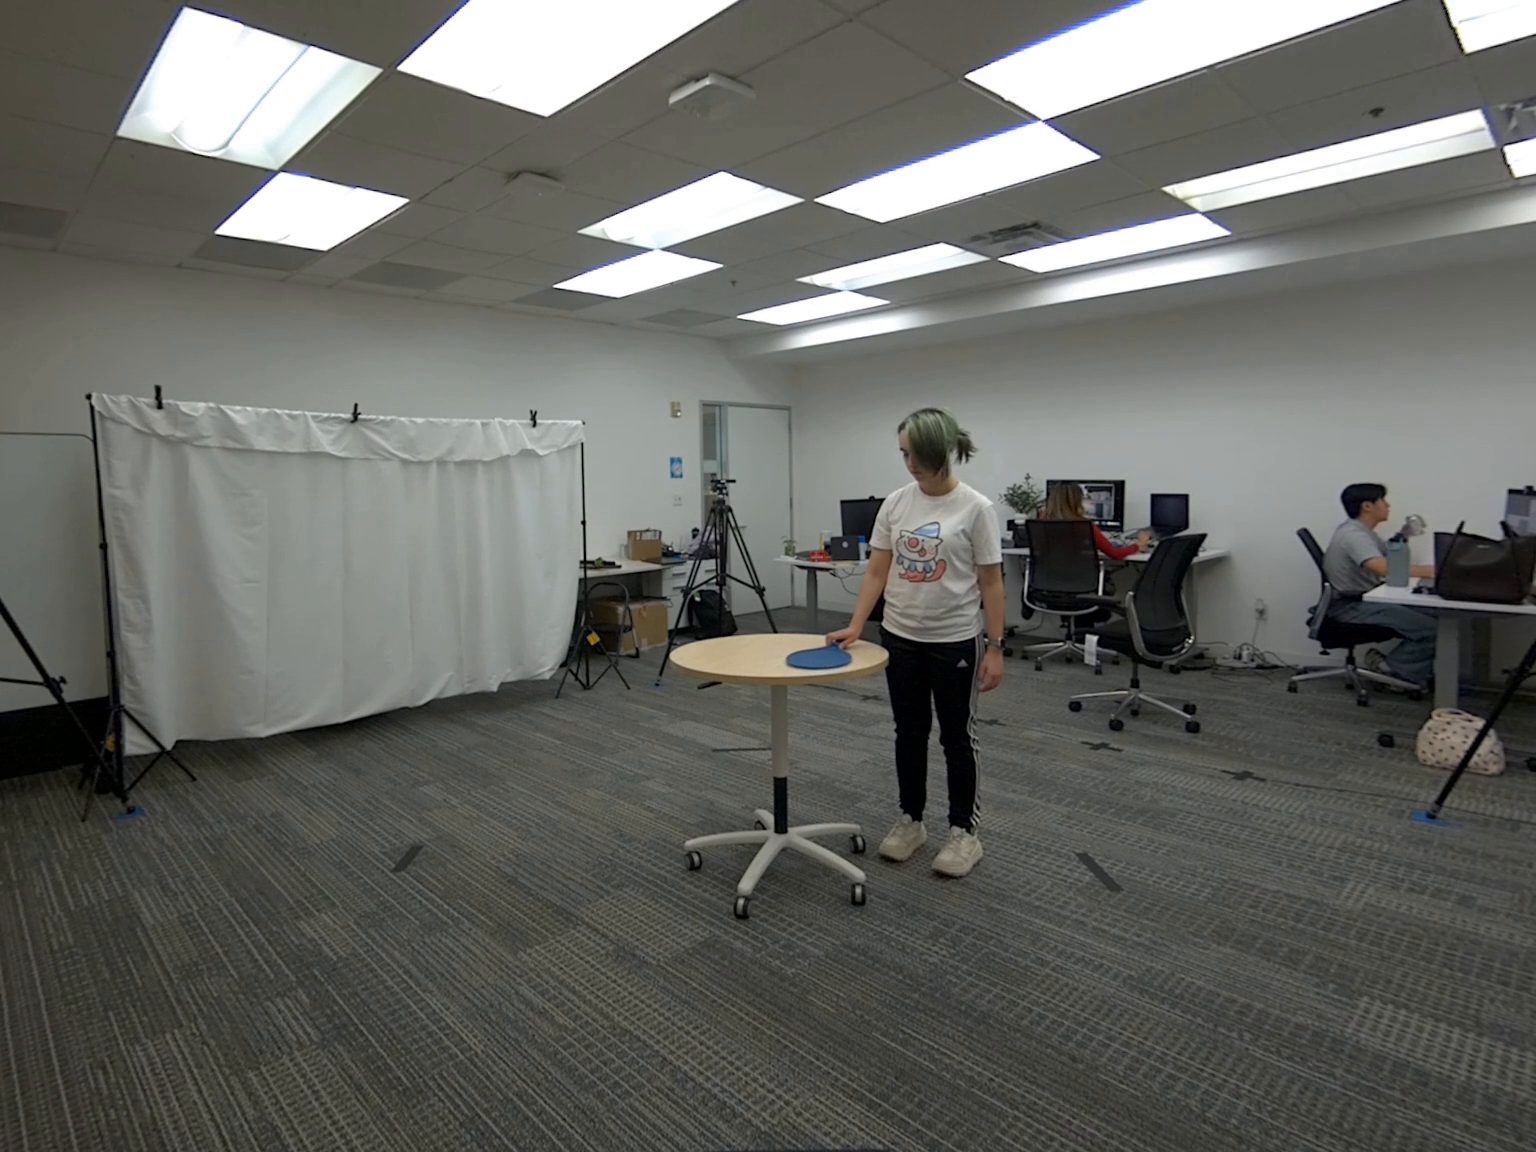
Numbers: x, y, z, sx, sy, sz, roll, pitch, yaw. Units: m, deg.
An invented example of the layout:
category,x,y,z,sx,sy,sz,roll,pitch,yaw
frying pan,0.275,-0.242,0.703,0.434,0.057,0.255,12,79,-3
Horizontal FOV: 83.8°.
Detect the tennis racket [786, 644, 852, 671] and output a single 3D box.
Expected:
category,x,y,z,sx,sy,sz,roll,pitch,yaw
tennis racket,0.204,0.270,2.922,0.218,0.031,0.427,0,8,20
